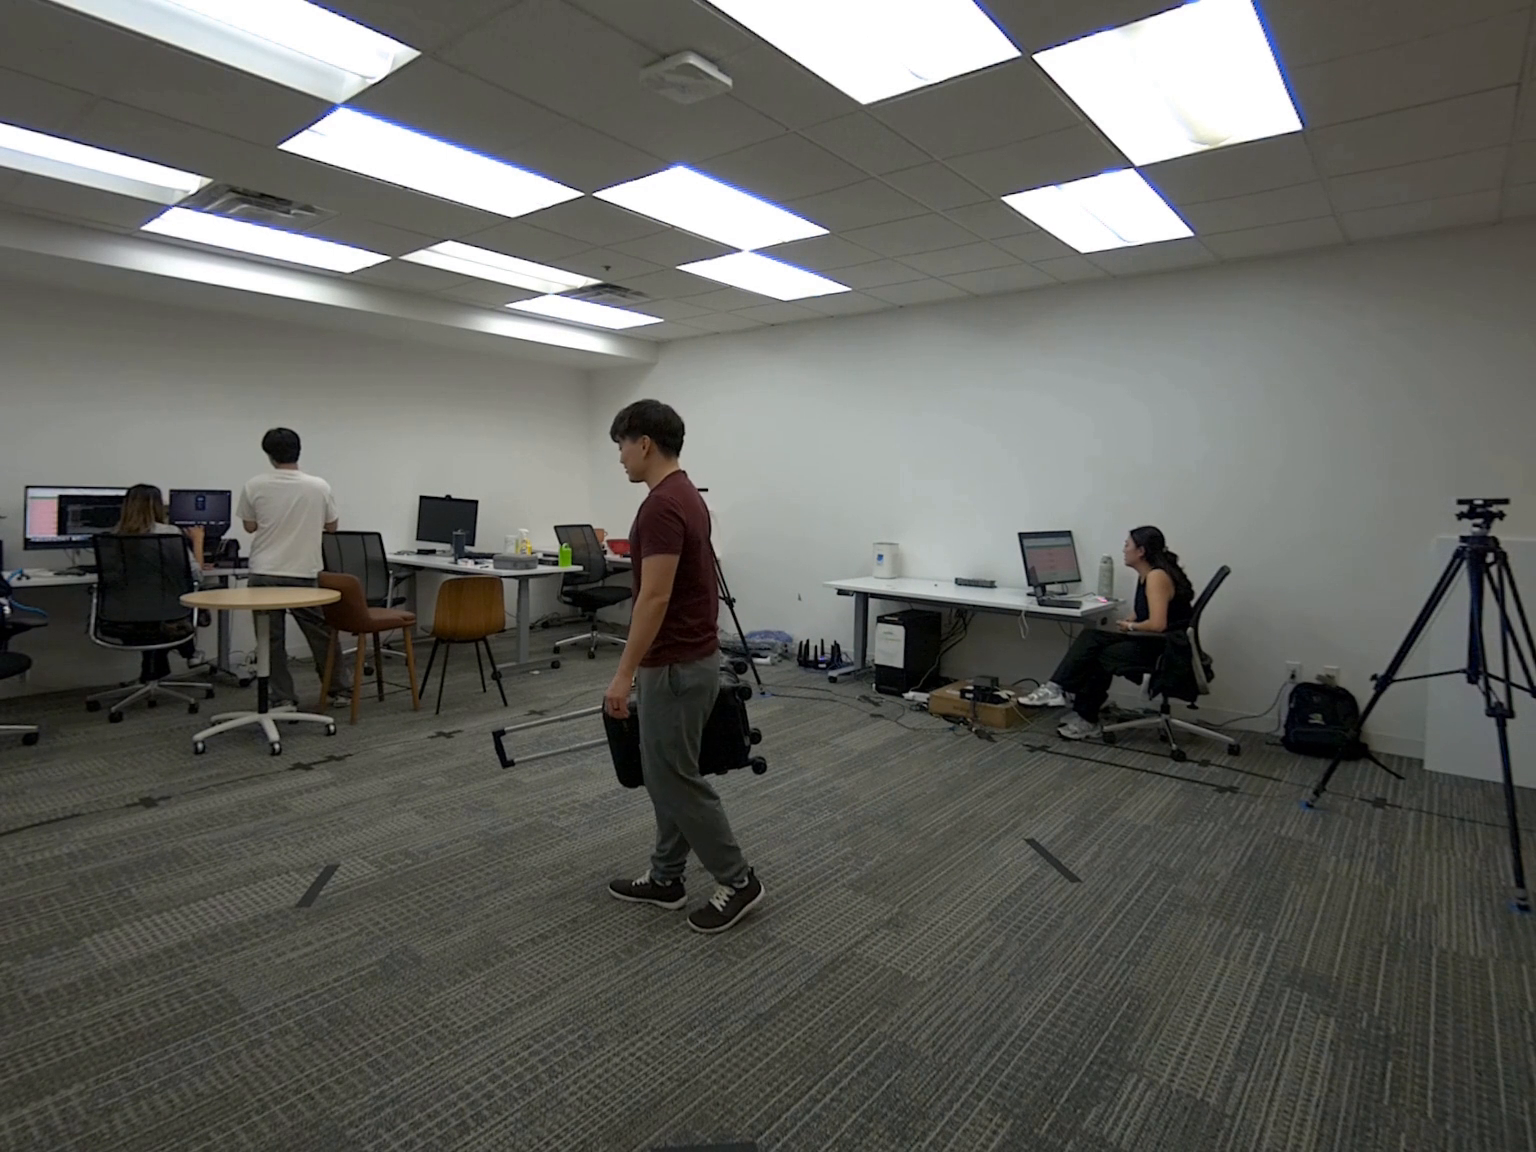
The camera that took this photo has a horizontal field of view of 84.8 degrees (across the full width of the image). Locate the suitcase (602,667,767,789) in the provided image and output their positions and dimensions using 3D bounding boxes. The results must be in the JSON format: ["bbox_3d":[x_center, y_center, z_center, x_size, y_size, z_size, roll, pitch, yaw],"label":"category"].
[{"bbox_3d":[-0.532,0.567,3.075,0.976,0.377,0.262,-10,16,-2],"label":"suitcase"}]
